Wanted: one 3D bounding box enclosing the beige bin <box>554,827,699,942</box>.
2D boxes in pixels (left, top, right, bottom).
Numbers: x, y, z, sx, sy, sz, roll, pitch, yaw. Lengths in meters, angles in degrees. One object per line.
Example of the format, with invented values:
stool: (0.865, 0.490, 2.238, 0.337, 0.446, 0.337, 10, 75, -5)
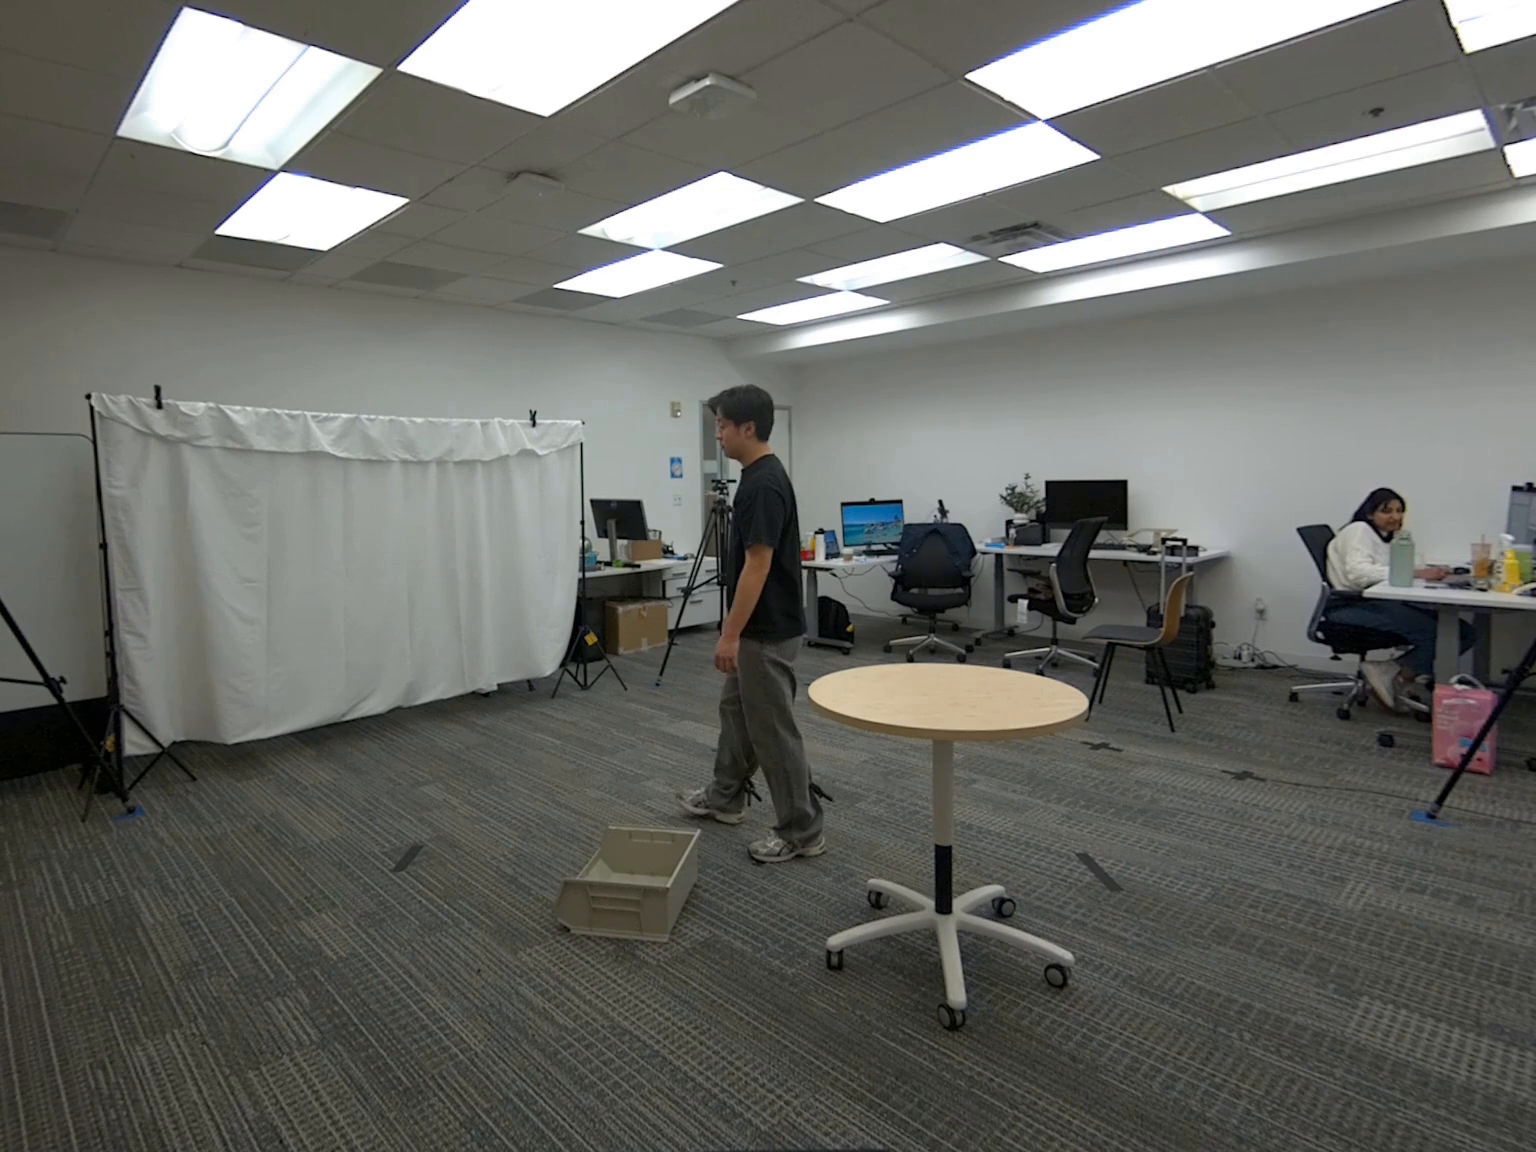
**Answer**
beige bin: (-0.447, 0.999, 2.818, 0.381, 0.188, 0.420, 1, 6, 10)
